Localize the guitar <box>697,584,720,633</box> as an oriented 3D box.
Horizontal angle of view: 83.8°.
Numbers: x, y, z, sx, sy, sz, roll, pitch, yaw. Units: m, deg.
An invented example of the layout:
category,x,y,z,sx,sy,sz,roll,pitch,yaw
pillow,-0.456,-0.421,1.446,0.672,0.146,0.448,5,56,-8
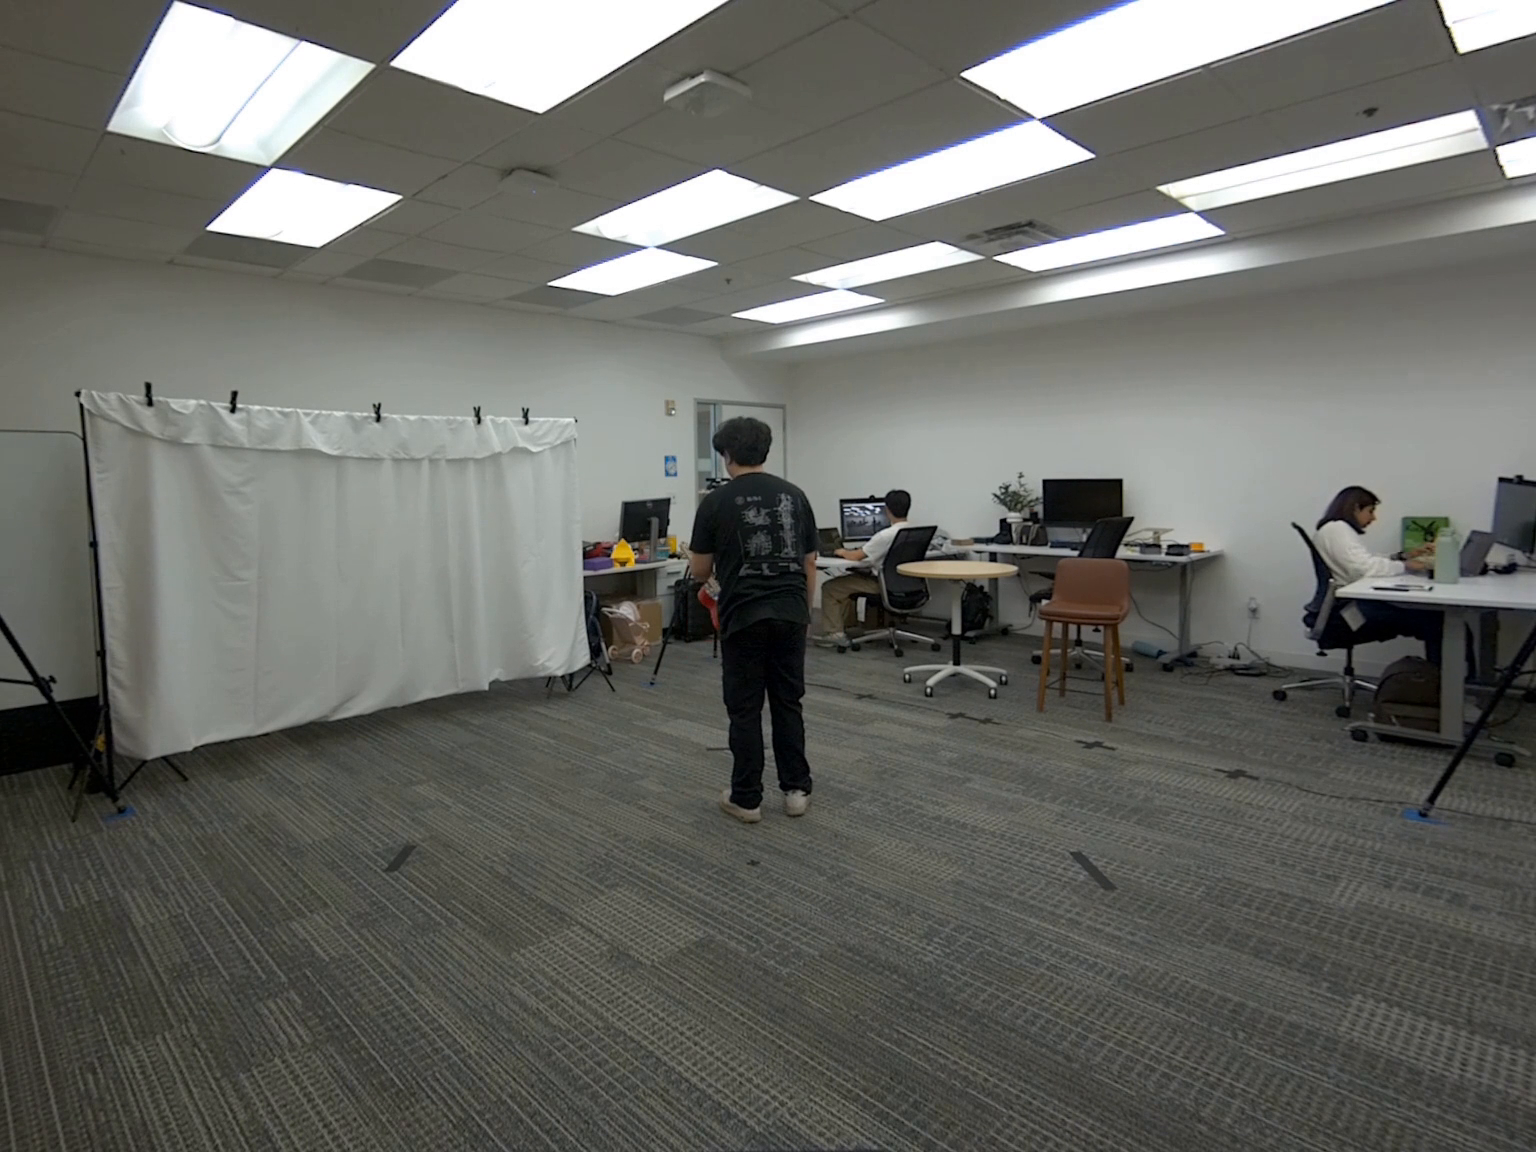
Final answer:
category,x,y,z,sx,sy,sz,roll,pitch,yaw
guitar,-0.243,0.053,3.875,0.187,0.514,0.070,0,-40,-43
